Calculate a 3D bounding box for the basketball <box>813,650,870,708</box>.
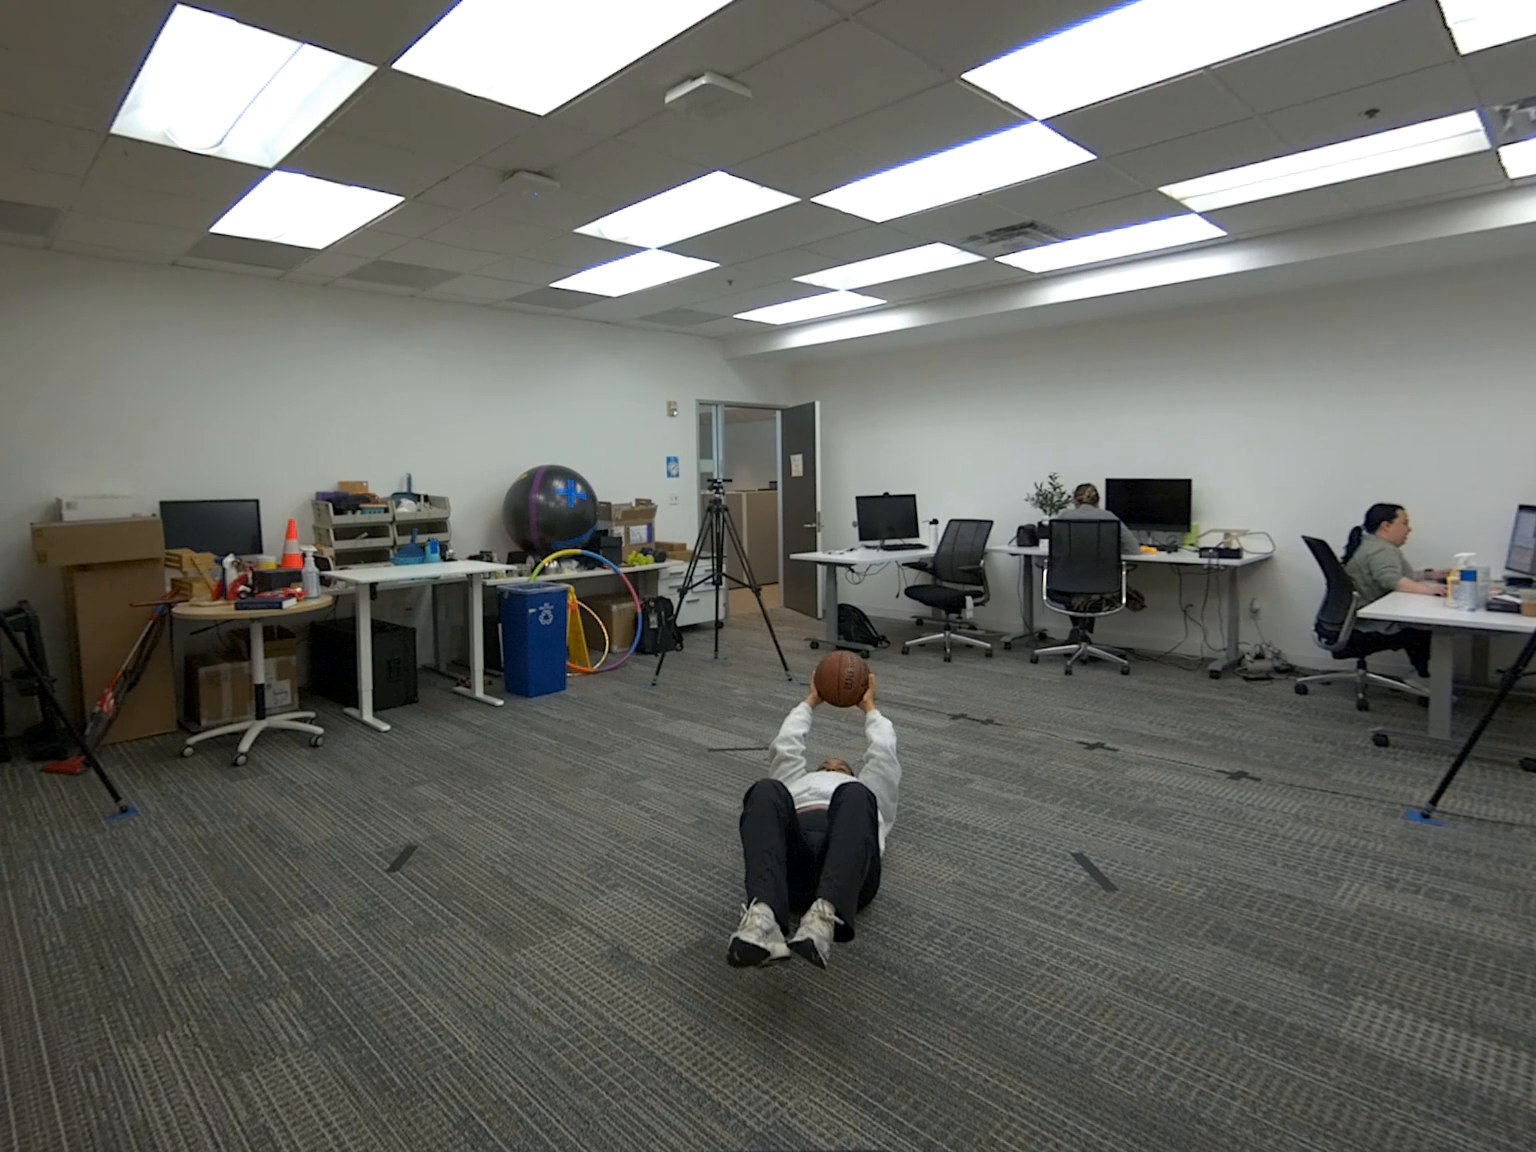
[{"bbox_3d":[0.316,0.439,3.609,0.236,0.235,0.237,-1,4,-2],"label":"basketball"}]
